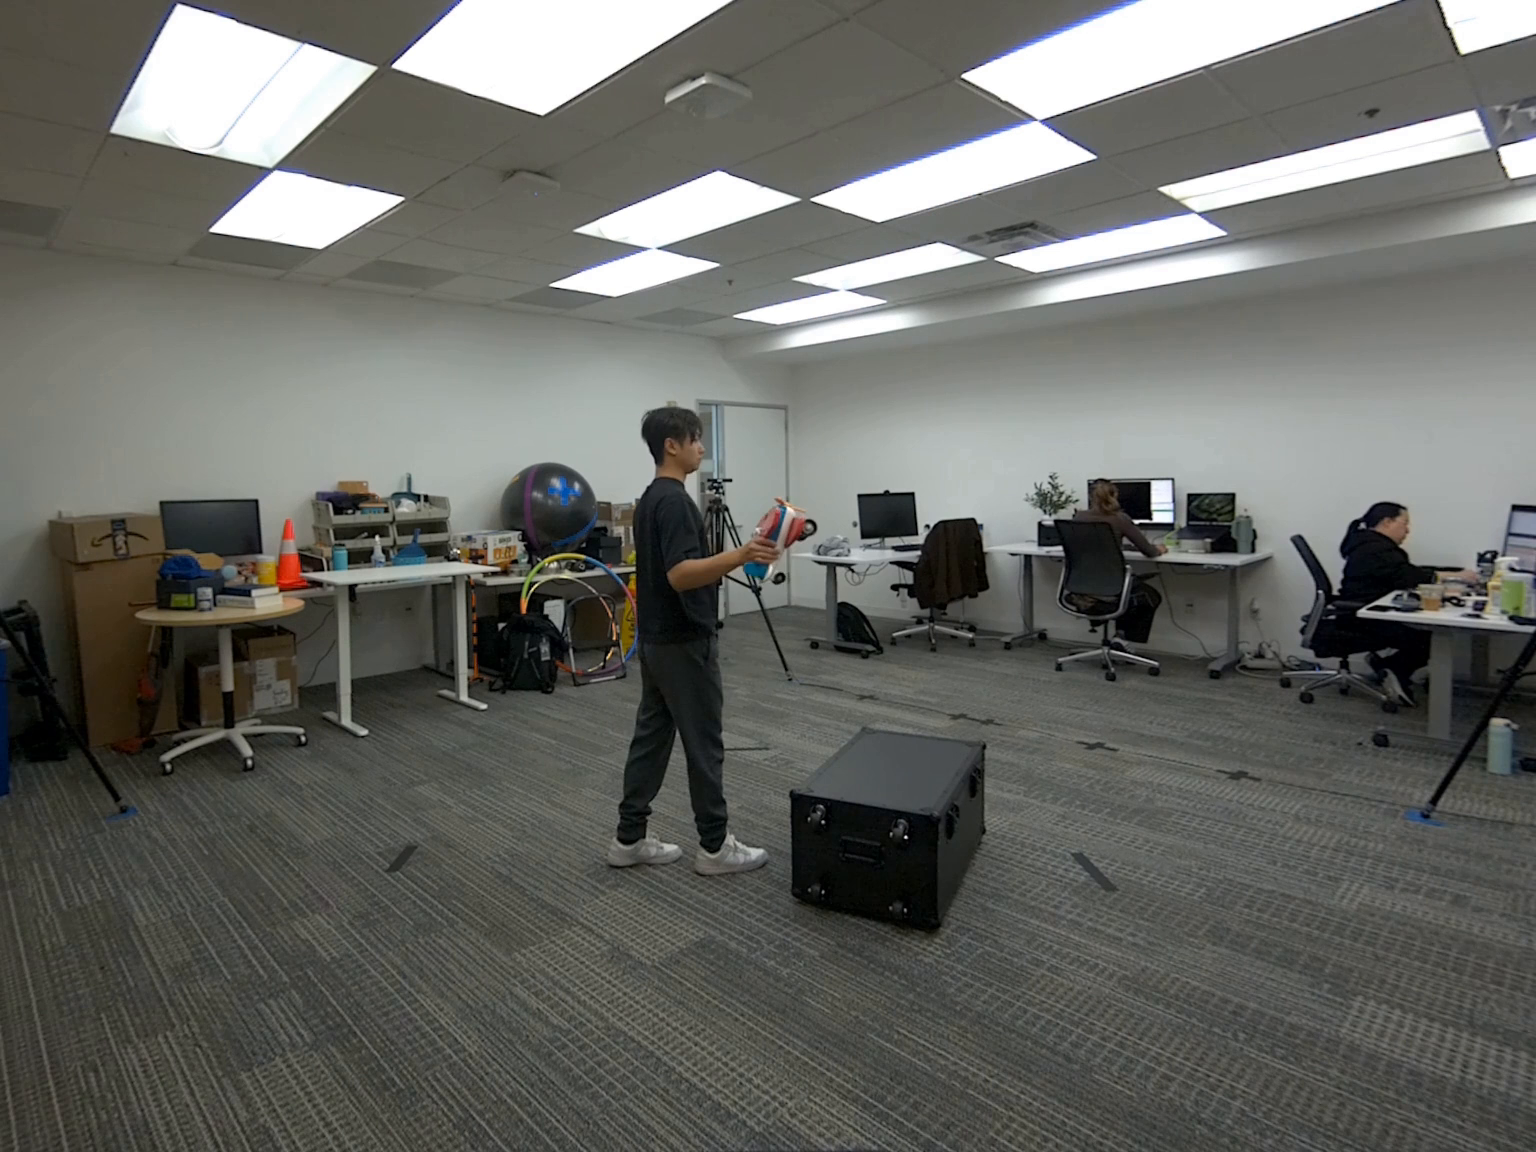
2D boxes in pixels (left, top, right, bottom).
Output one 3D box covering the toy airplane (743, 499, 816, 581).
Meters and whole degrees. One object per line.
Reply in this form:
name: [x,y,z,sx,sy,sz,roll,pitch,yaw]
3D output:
toy airplane: [0.042,-0.098,2.637,0.156,0.262,0.250,33,-41,-5]
